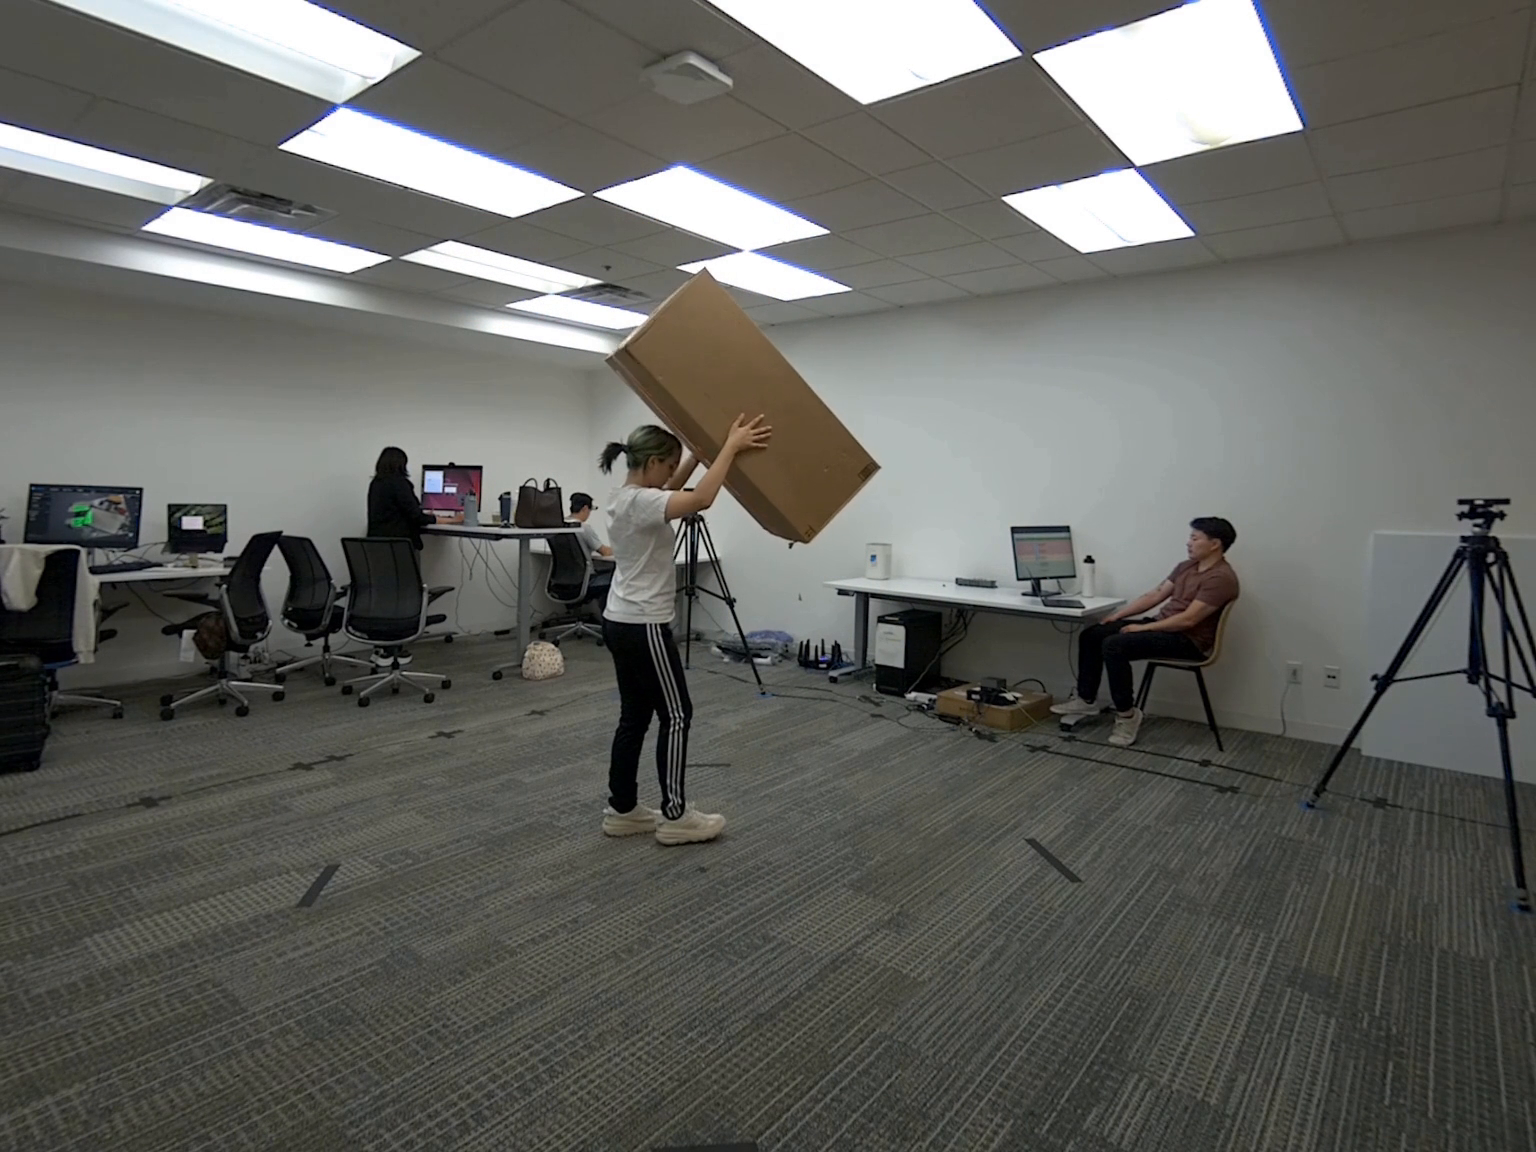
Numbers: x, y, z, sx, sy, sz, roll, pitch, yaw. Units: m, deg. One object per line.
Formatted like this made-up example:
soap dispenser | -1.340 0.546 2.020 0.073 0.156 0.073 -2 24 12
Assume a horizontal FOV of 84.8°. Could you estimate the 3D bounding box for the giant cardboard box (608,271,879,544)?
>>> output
giant cardboard box | -0.130 -0.659 3.440 1.005 0.446 0.597 46 -8 -16
